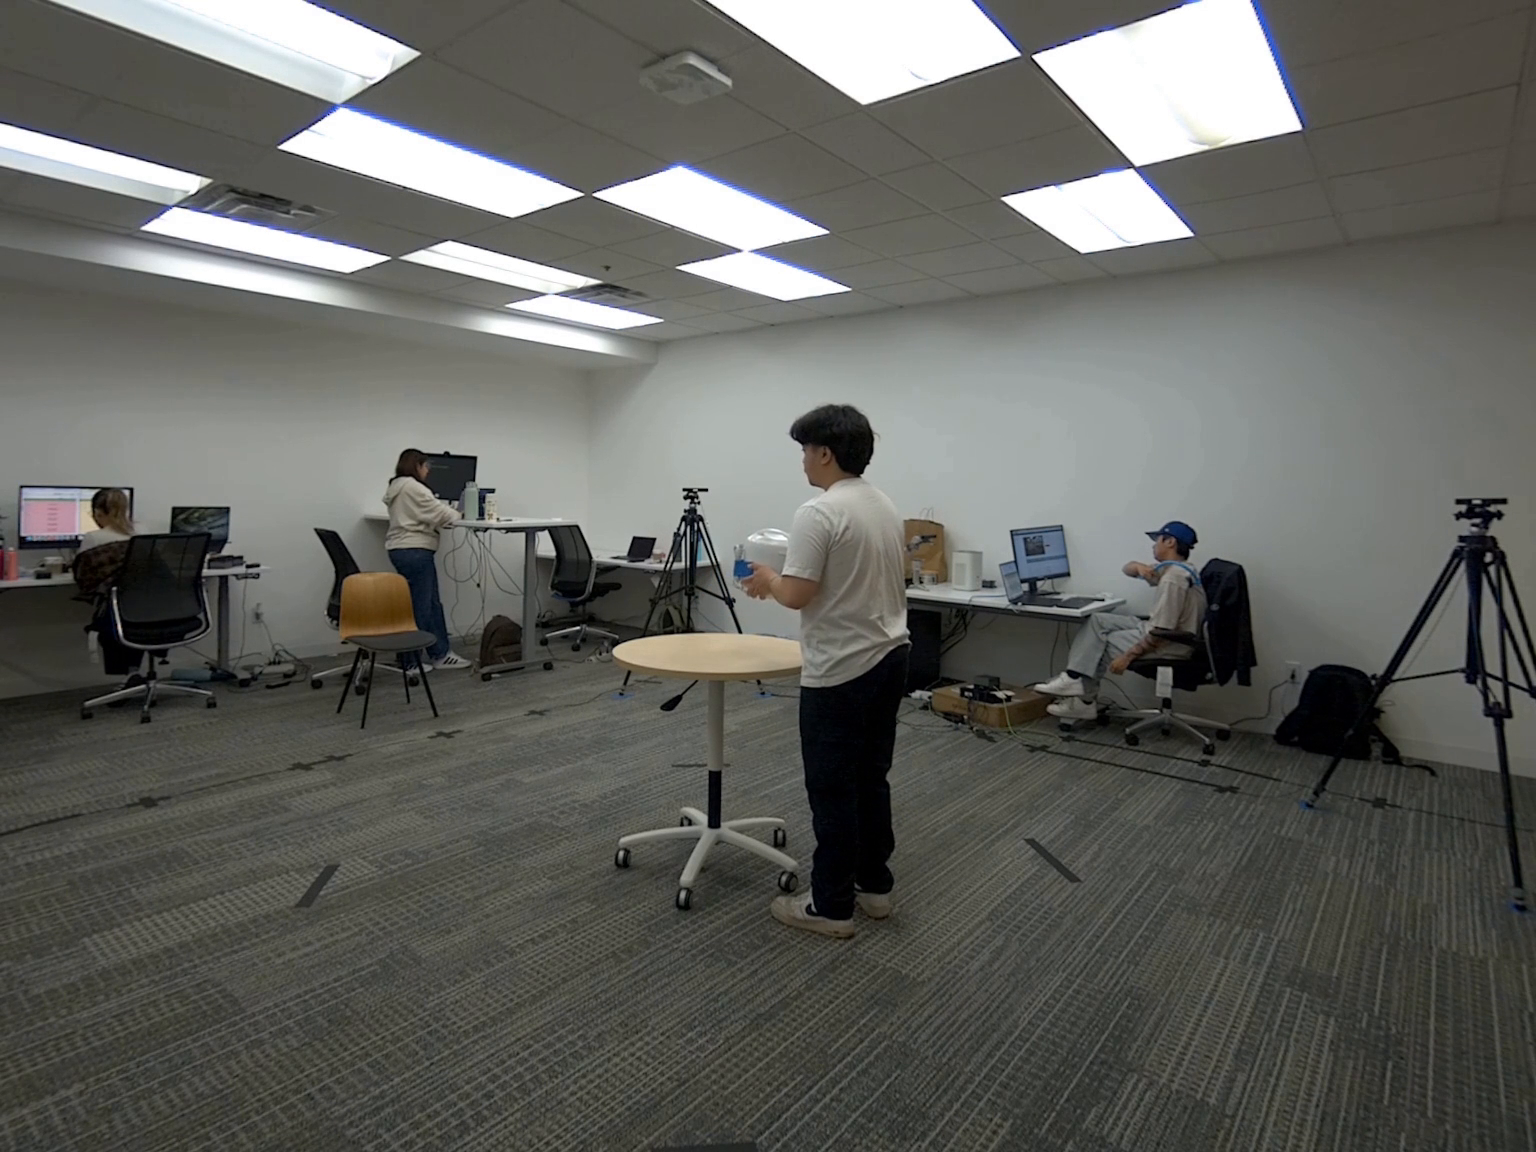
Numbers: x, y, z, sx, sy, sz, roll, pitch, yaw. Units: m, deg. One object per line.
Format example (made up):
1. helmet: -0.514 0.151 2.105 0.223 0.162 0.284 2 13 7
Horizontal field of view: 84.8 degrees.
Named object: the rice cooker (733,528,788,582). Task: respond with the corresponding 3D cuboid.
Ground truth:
1. rice cooker: 0.002 -0.053 2.994 0.228 0.231 0.211 13 11 33
